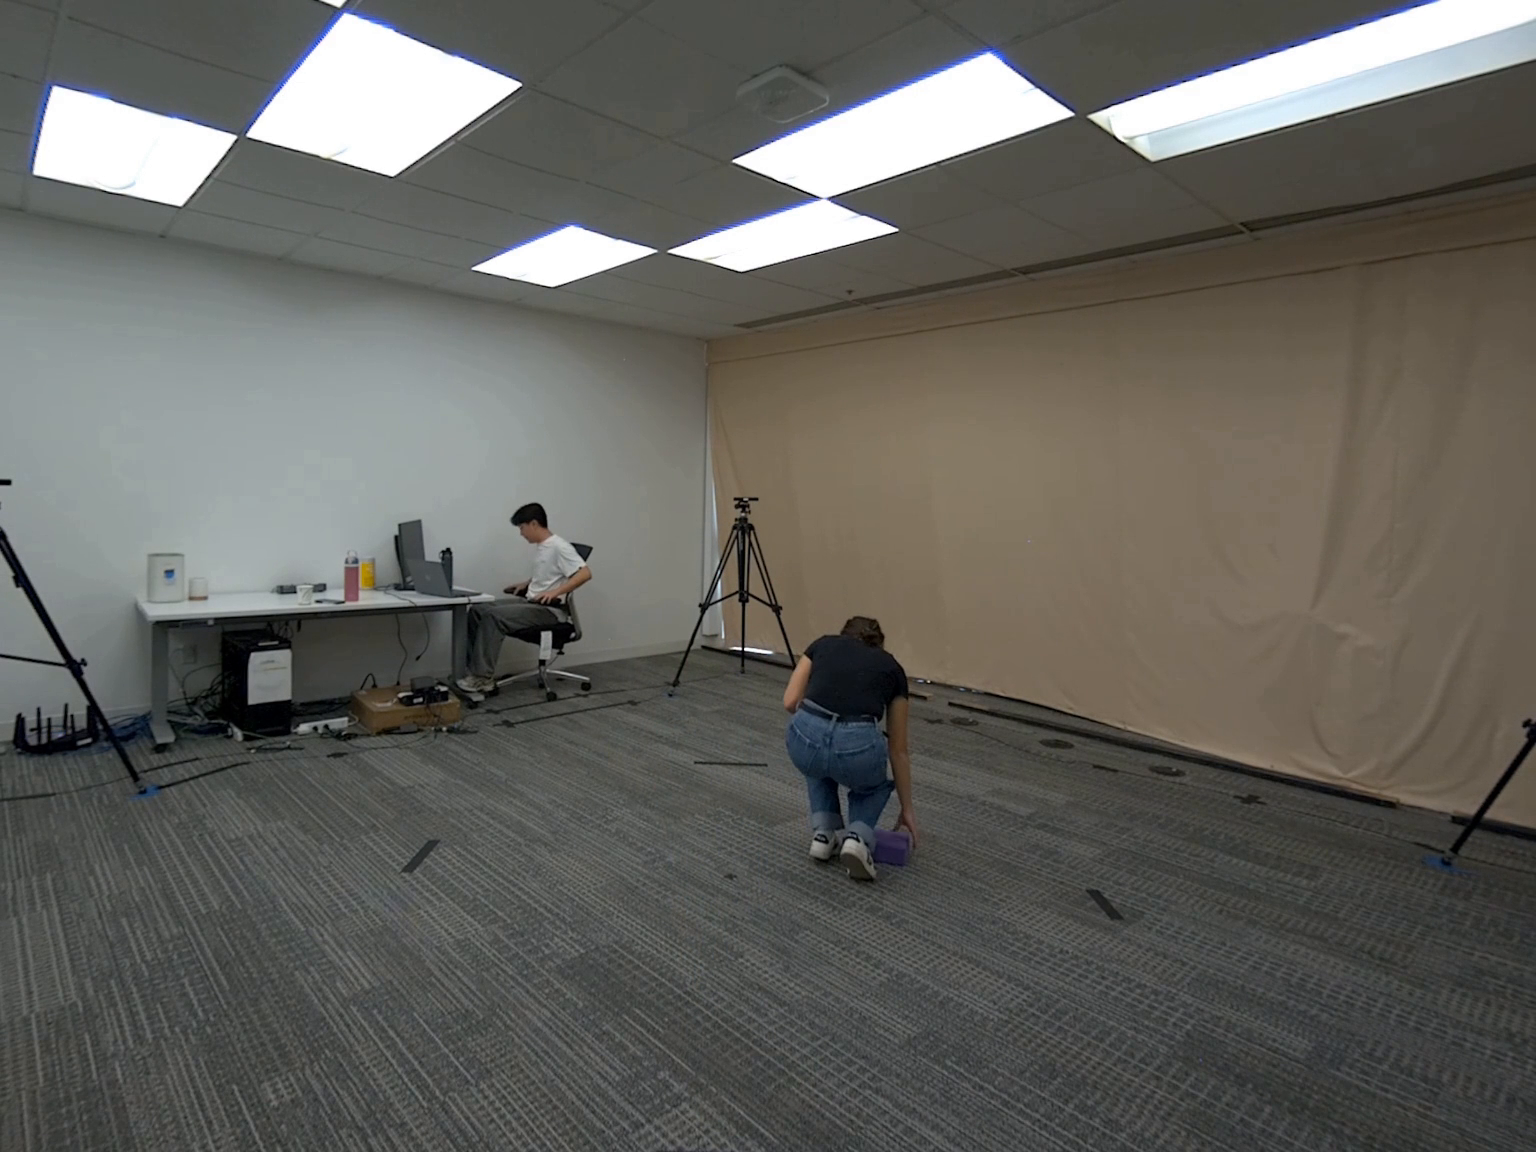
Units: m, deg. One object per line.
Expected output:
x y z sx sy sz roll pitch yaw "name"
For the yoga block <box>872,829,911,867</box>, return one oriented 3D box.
0.429 1.059 3.318 0.233 0.076 0.147 5 4 18 "yoga block"
